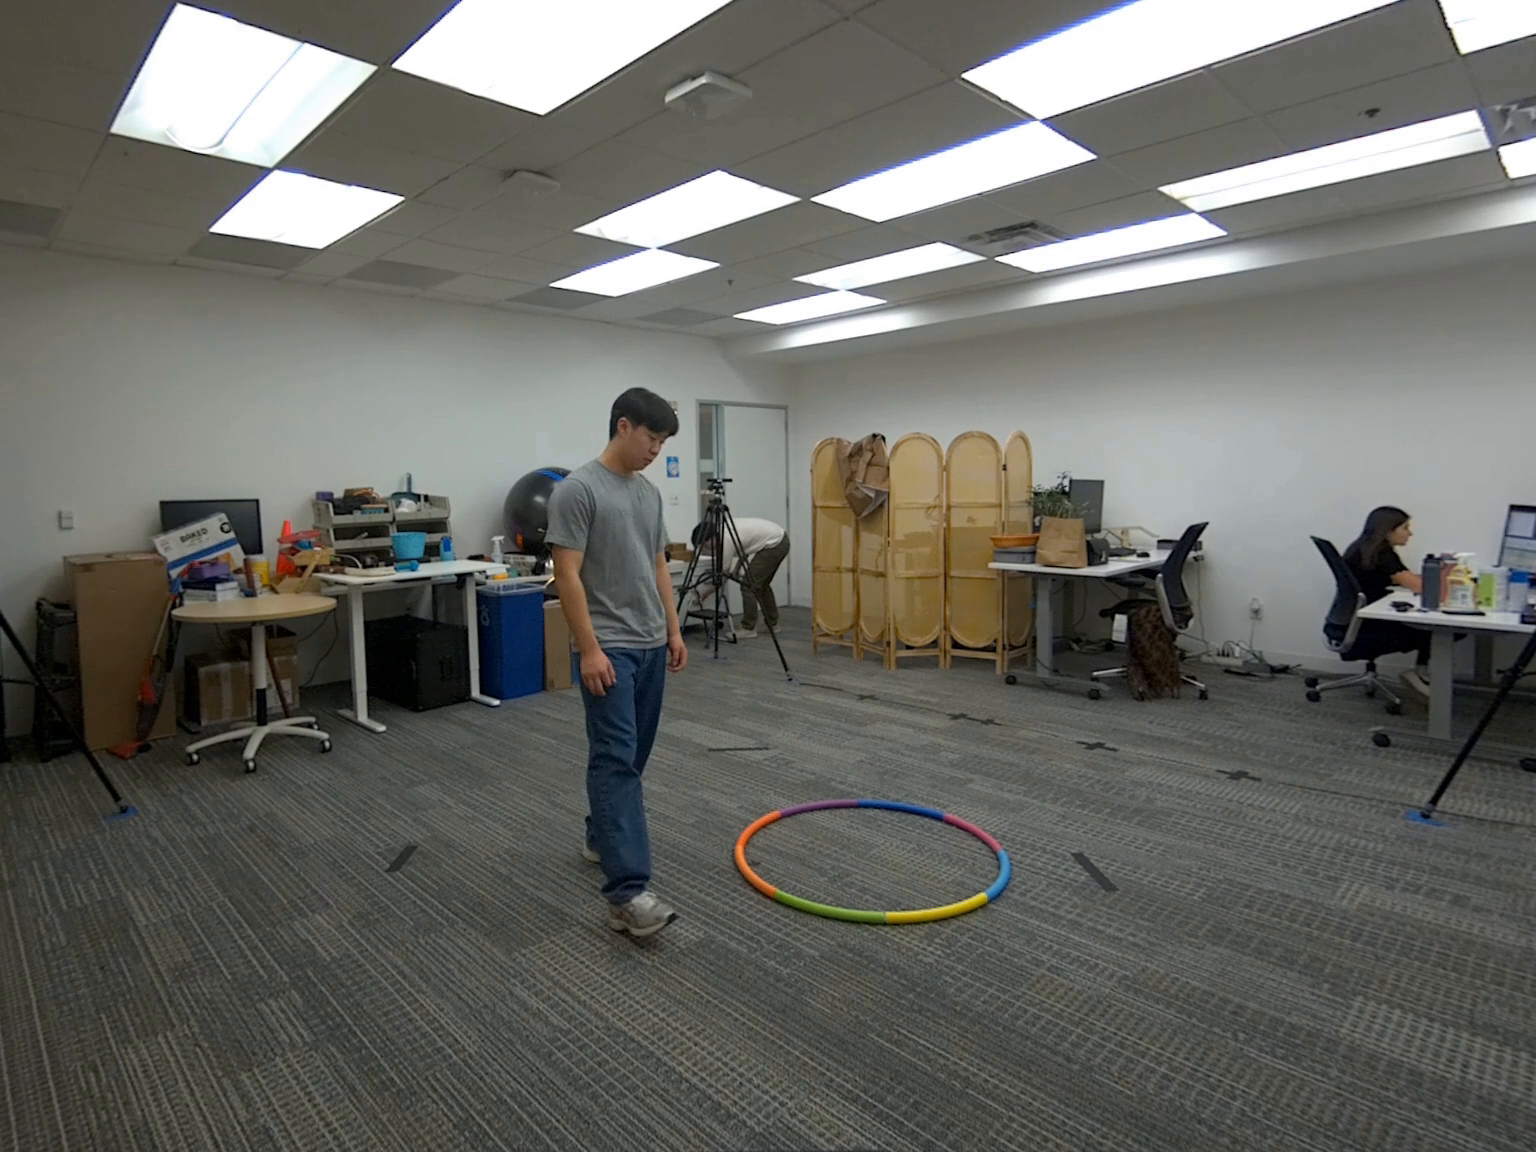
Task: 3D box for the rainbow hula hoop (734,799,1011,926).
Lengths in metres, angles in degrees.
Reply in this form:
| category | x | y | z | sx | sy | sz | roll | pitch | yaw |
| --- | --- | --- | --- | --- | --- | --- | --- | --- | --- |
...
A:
| category | x | y | z | sx | sy | sz | roll | pitch | yaw |
| --- | --- | --- | --- | --- | --- | --- | --- | --- | --- |
| rainbow hula hoop | 0.366 | 1.002 | 3.148 | 0.978 | 0.035 | 0.984 | -2 | 6 | -2 |
